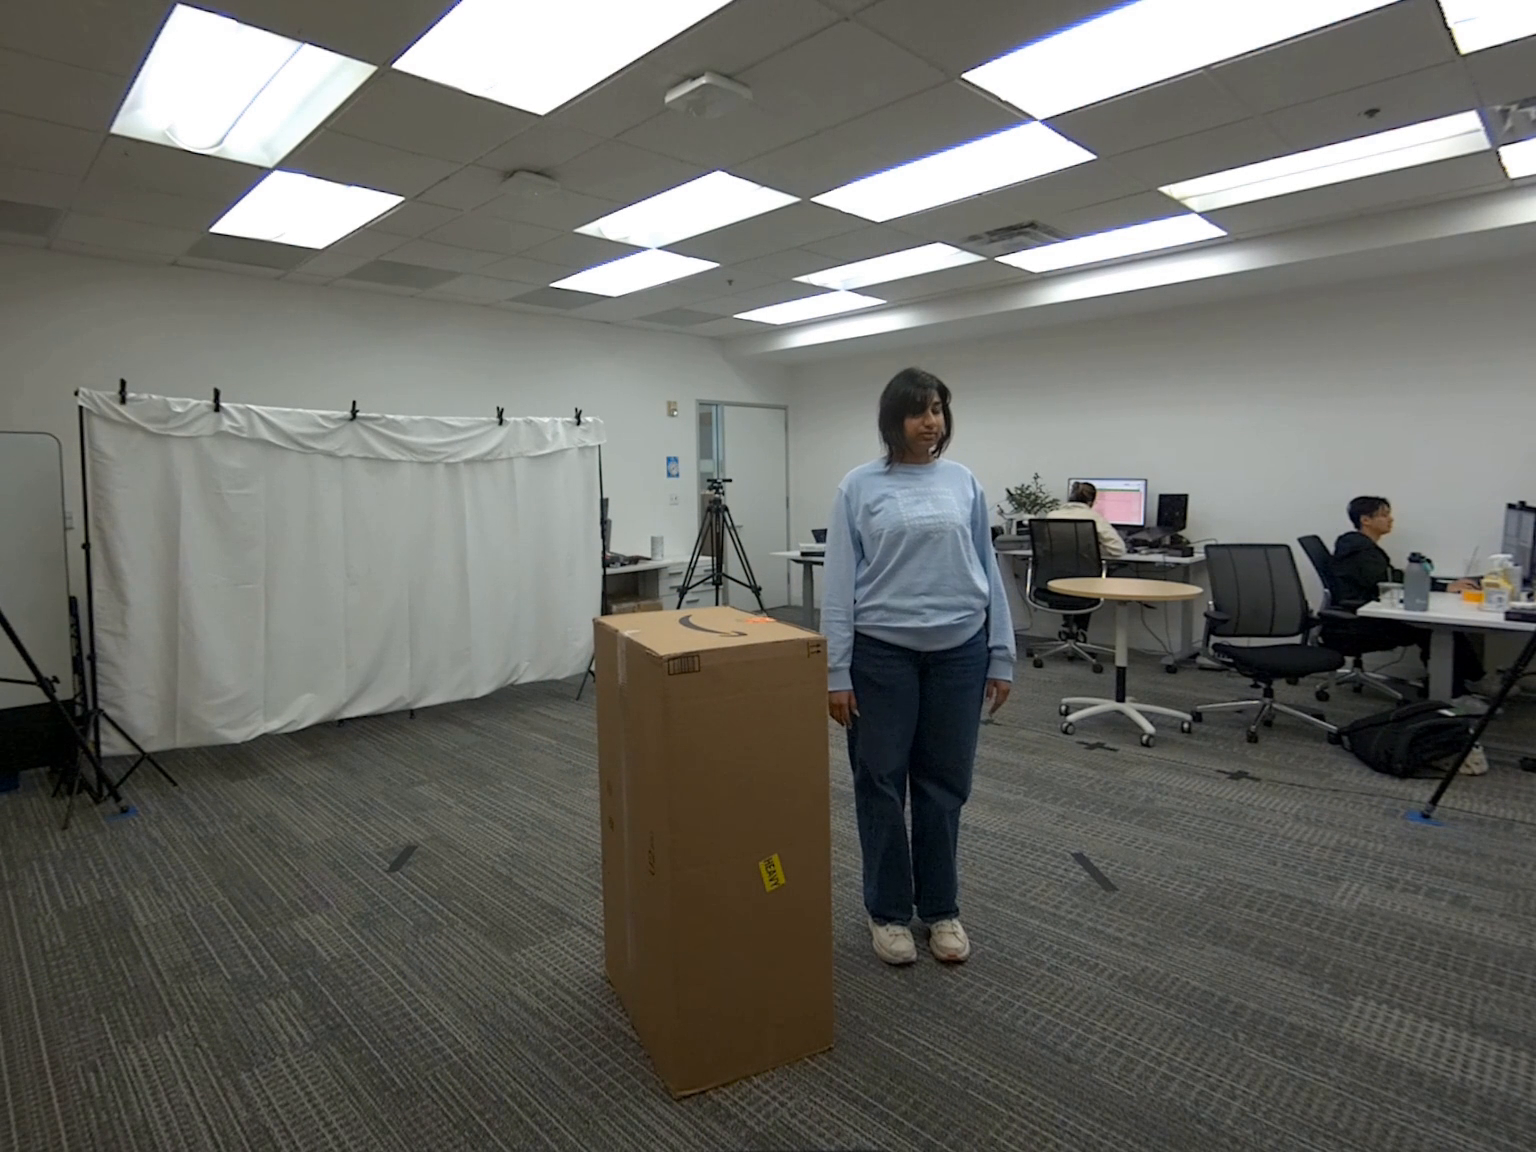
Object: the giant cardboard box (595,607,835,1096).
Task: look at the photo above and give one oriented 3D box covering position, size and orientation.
[{"bbox_3d":[-0.154,0.637,2.240,0.417,1.022,0.592,-3,4,-26],"label":"giant cardboard box"}]
